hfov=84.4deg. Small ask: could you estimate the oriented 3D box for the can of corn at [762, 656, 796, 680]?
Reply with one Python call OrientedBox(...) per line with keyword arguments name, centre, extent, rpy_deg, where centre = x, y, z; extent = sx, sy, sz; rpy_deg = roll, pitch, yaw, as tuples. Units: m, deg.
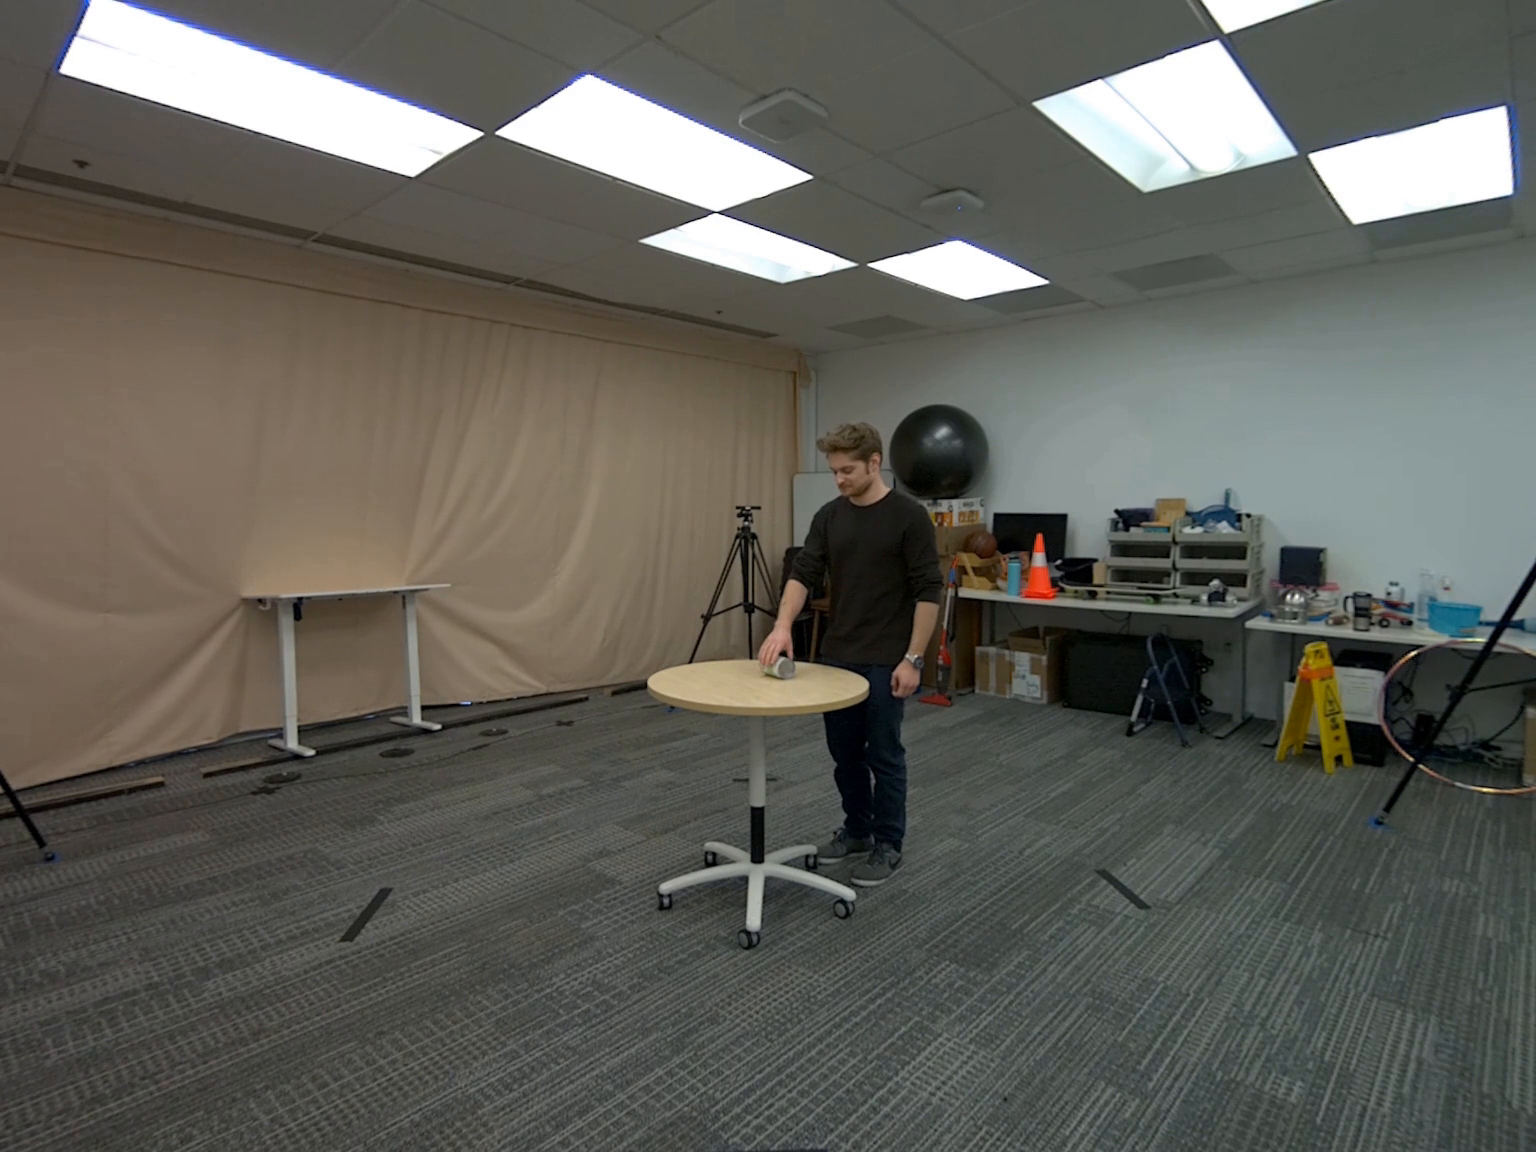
OrientedBox(name="can of corn", centre=(0.040, 0.325, 2.992), extent=(0.072, 0.074, 0.114), rpy_deg=(-3, 4, -34))
